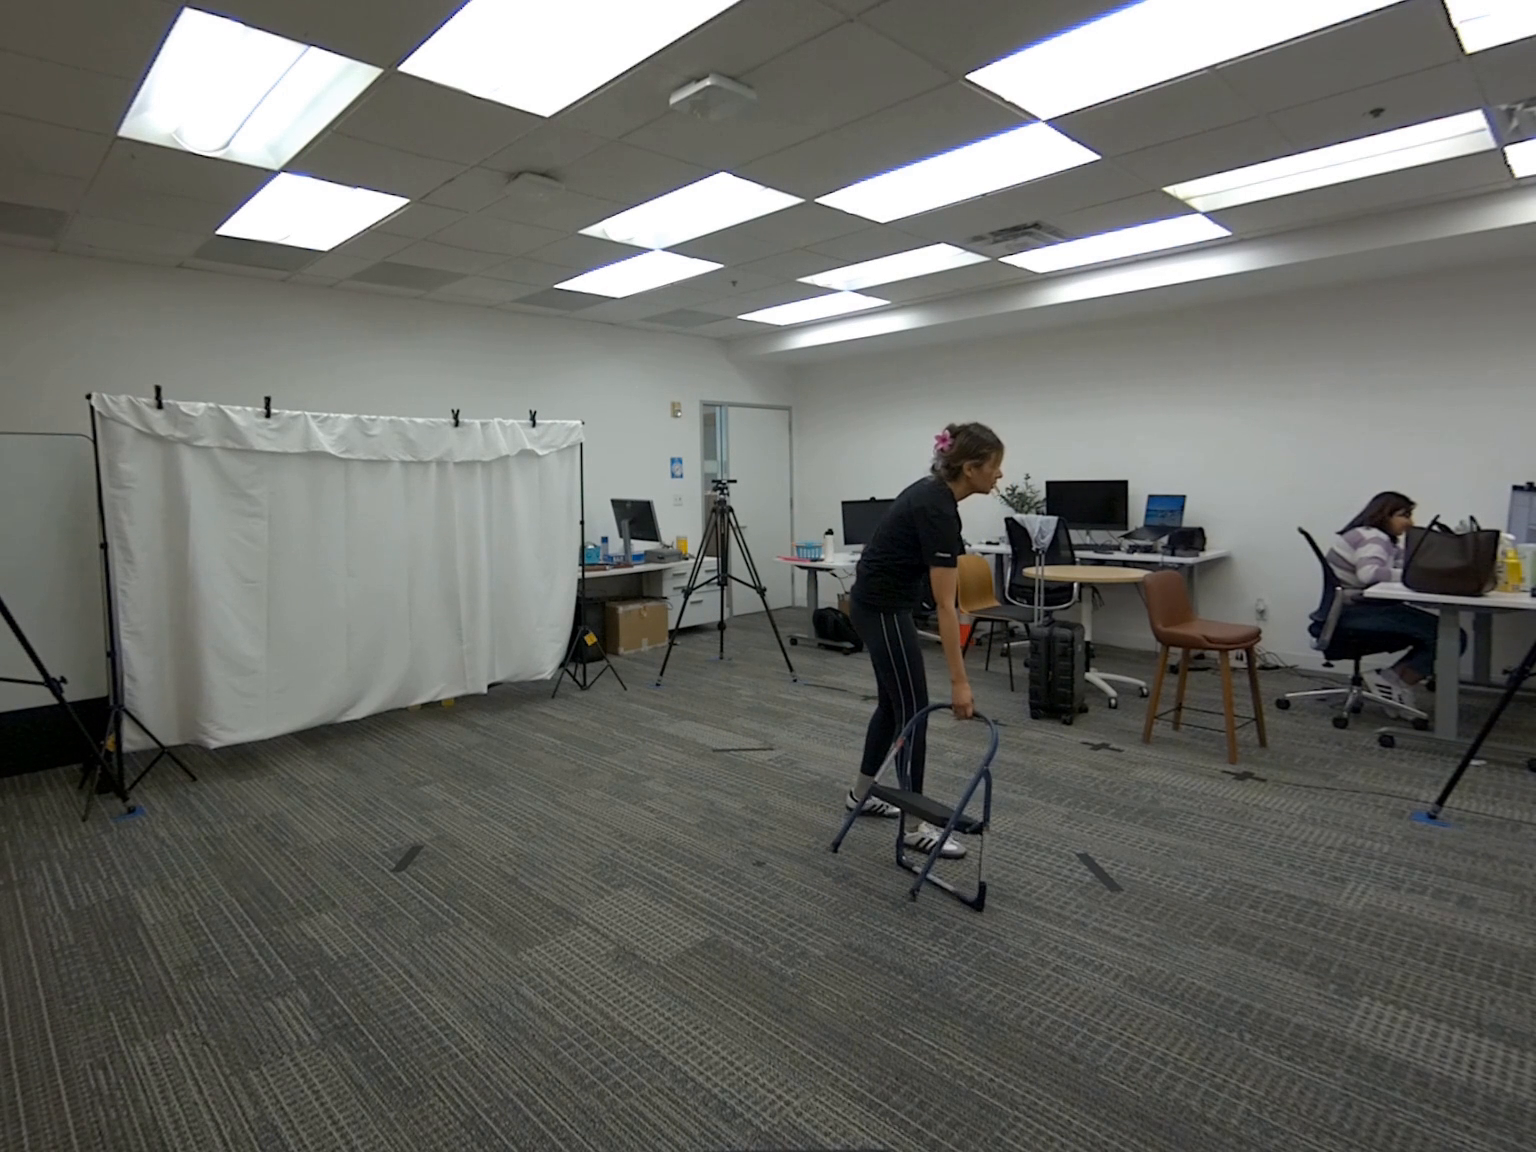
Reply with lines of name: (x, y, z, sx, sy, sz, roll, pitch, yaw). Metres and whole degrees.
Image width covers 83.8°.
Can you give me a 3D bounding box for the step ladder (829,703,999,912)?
step ladder: (0.533, 0.729, 2.871, 0.338, 0.608, 0.443, 21, -6, -30)
